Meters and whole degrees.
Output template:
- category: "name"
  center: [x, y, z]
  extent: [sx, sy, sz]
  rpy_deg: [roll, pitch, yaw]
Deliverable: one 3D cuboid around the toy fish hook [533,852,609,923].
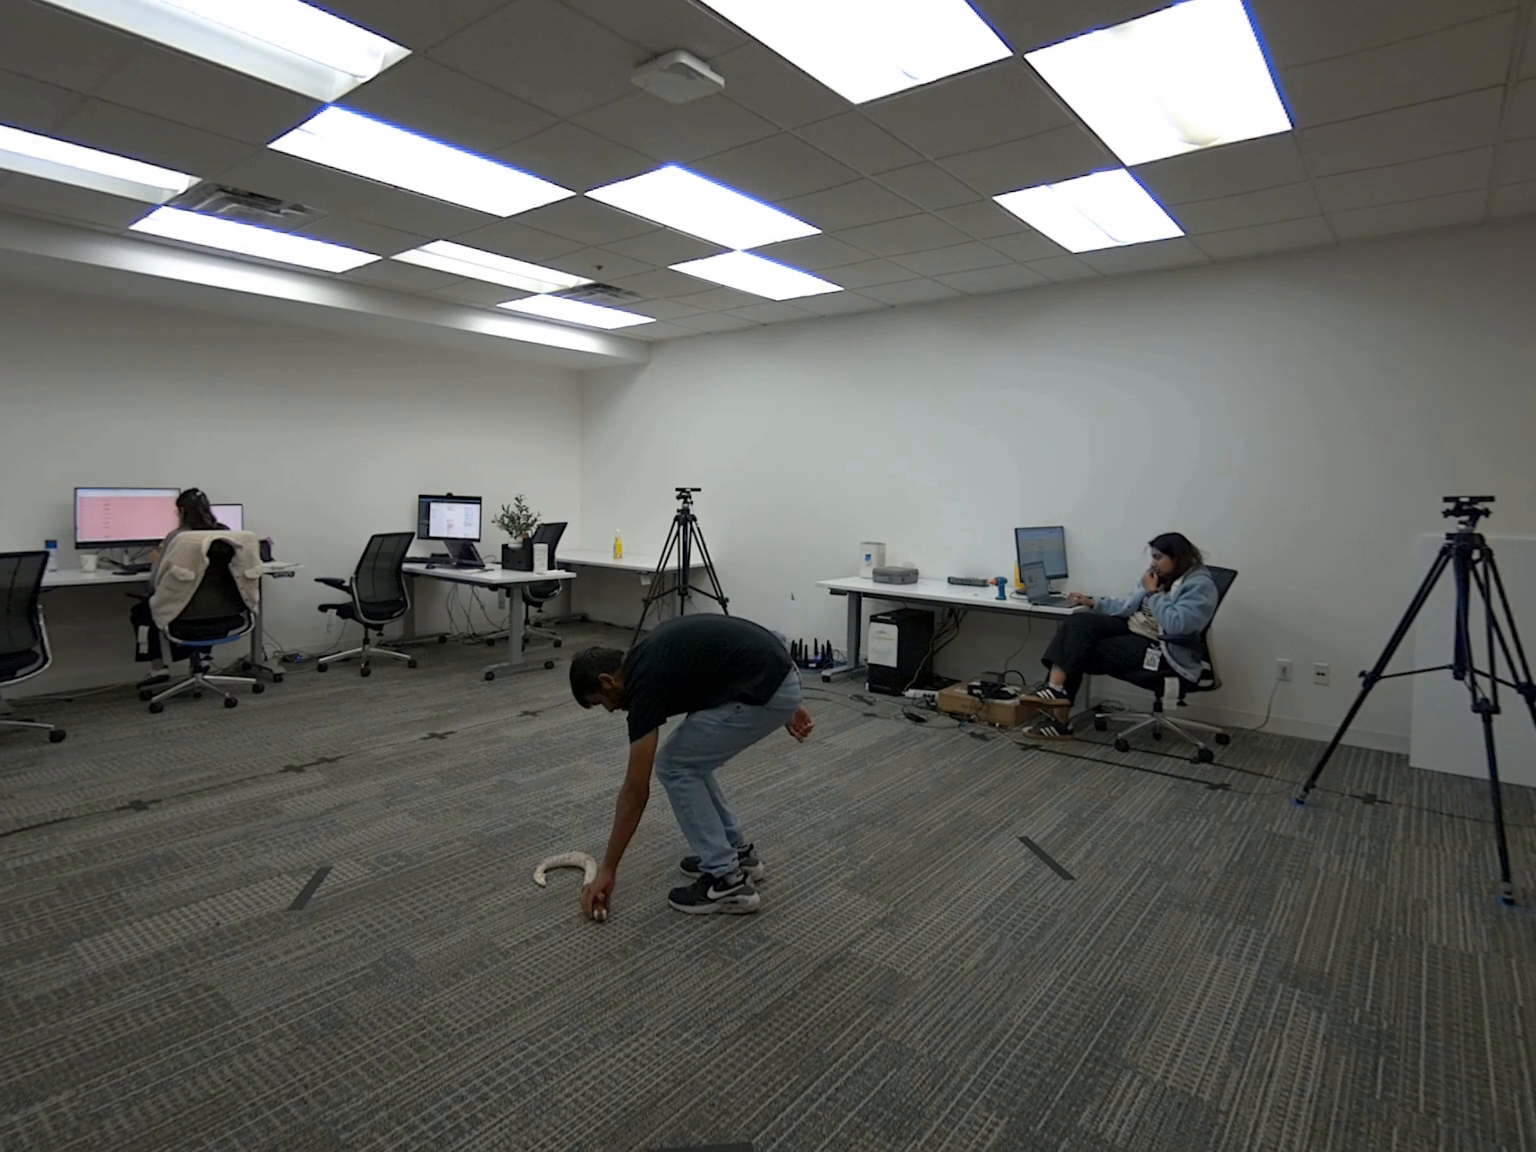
- category: "toy fish hook"
  center: [-0.686, 1.060, 2.917]
  extent: [0.220, 0.048, 0.518]
  rpy_deg: [-9, 7, -22]
